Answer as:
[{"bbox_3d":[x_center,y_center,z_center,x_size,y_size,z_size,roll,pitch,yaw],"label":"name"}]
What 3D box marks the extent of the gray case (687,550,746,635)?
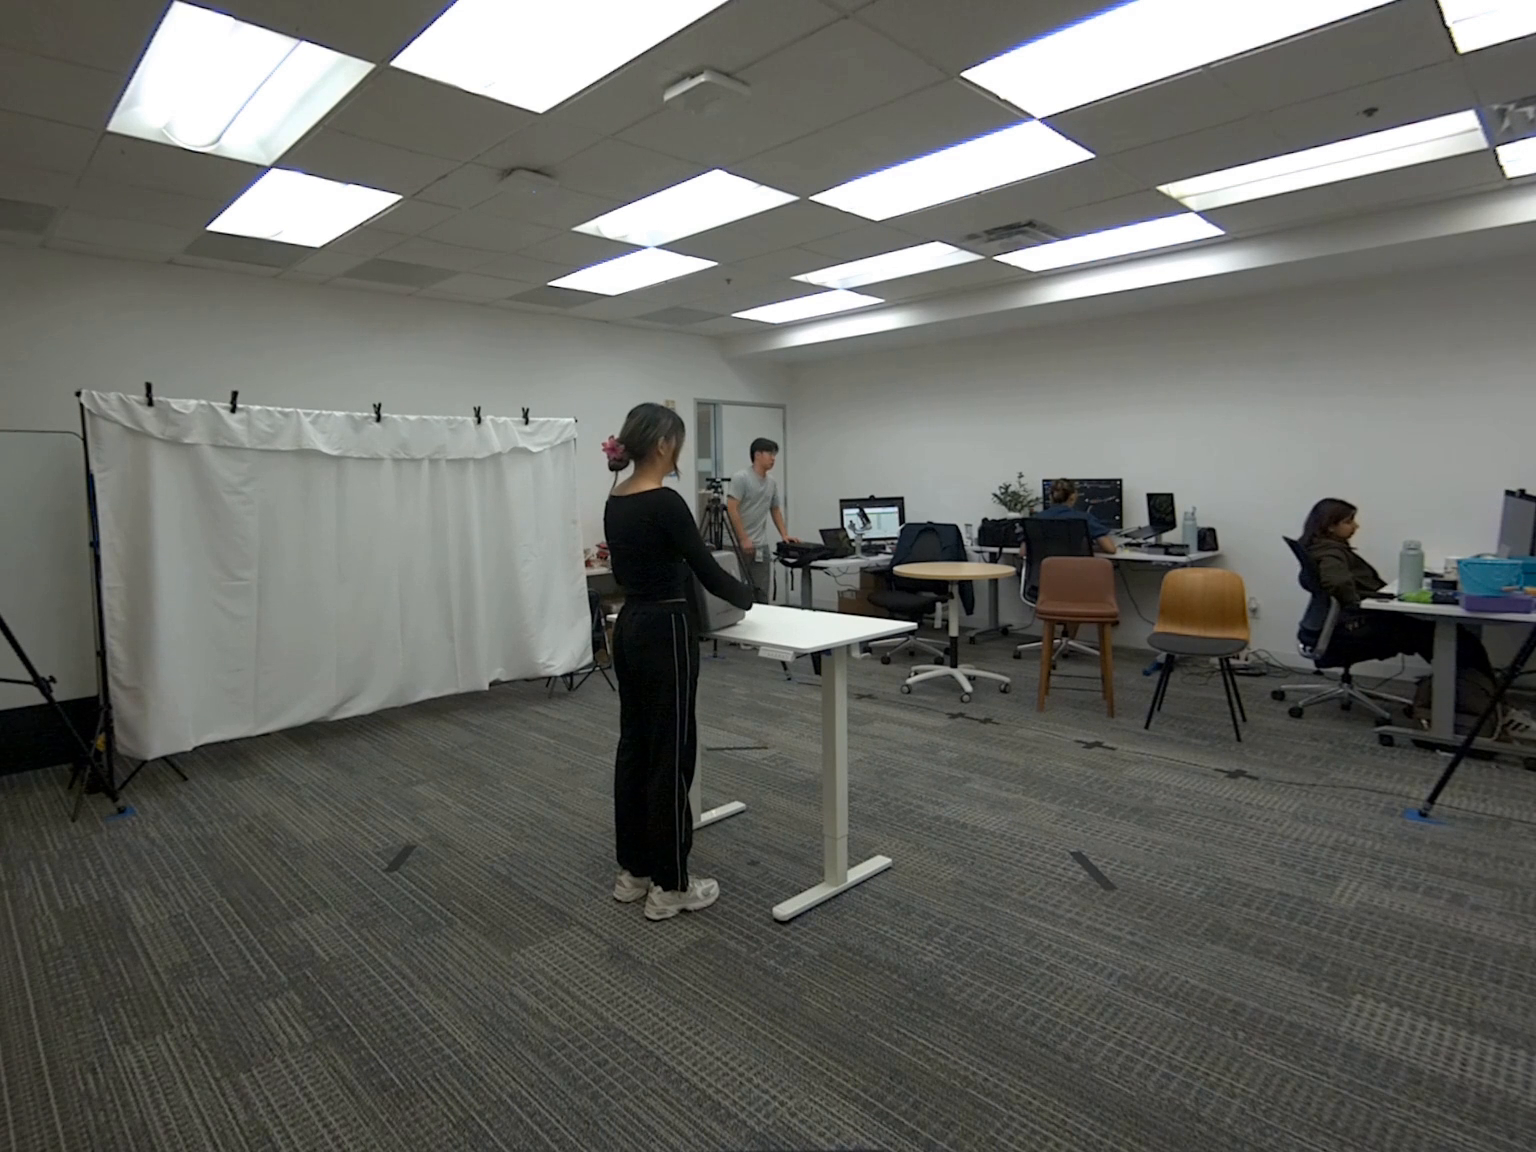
[{"bbox_3d":[-0.192,0.049,2.937,0.106,0.260,0.252,-9,1,29],"label":"gray case"}]
